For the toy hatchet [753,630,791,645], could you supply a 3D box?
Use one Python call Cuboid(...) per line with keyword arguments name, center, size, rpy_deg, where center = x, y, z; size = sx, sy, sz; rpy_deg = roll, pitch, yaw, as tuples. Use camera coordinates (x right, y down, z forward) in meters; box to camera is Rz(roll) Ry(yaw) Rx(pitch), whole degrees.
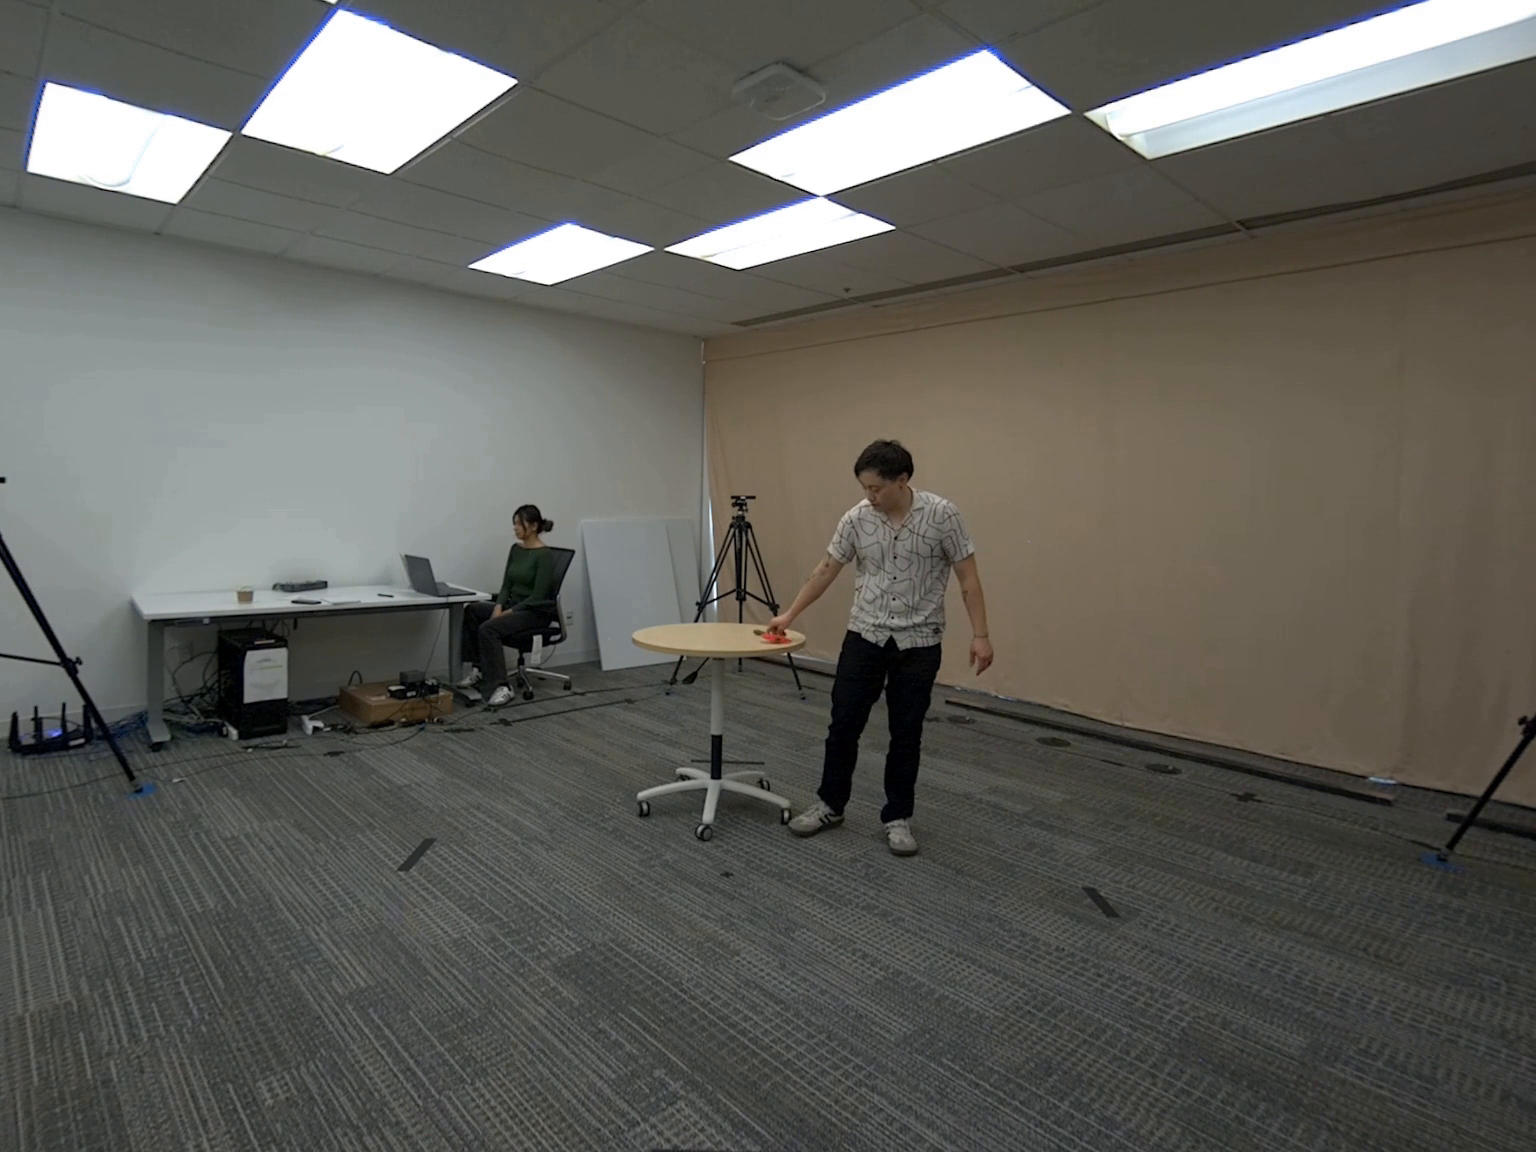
Cuboid(name="toy hatchet", center=(-0.005, 0.262, 3.648), size=(0.128, 0.029, 0.277), rpy_deg=(3, 5, -35))
